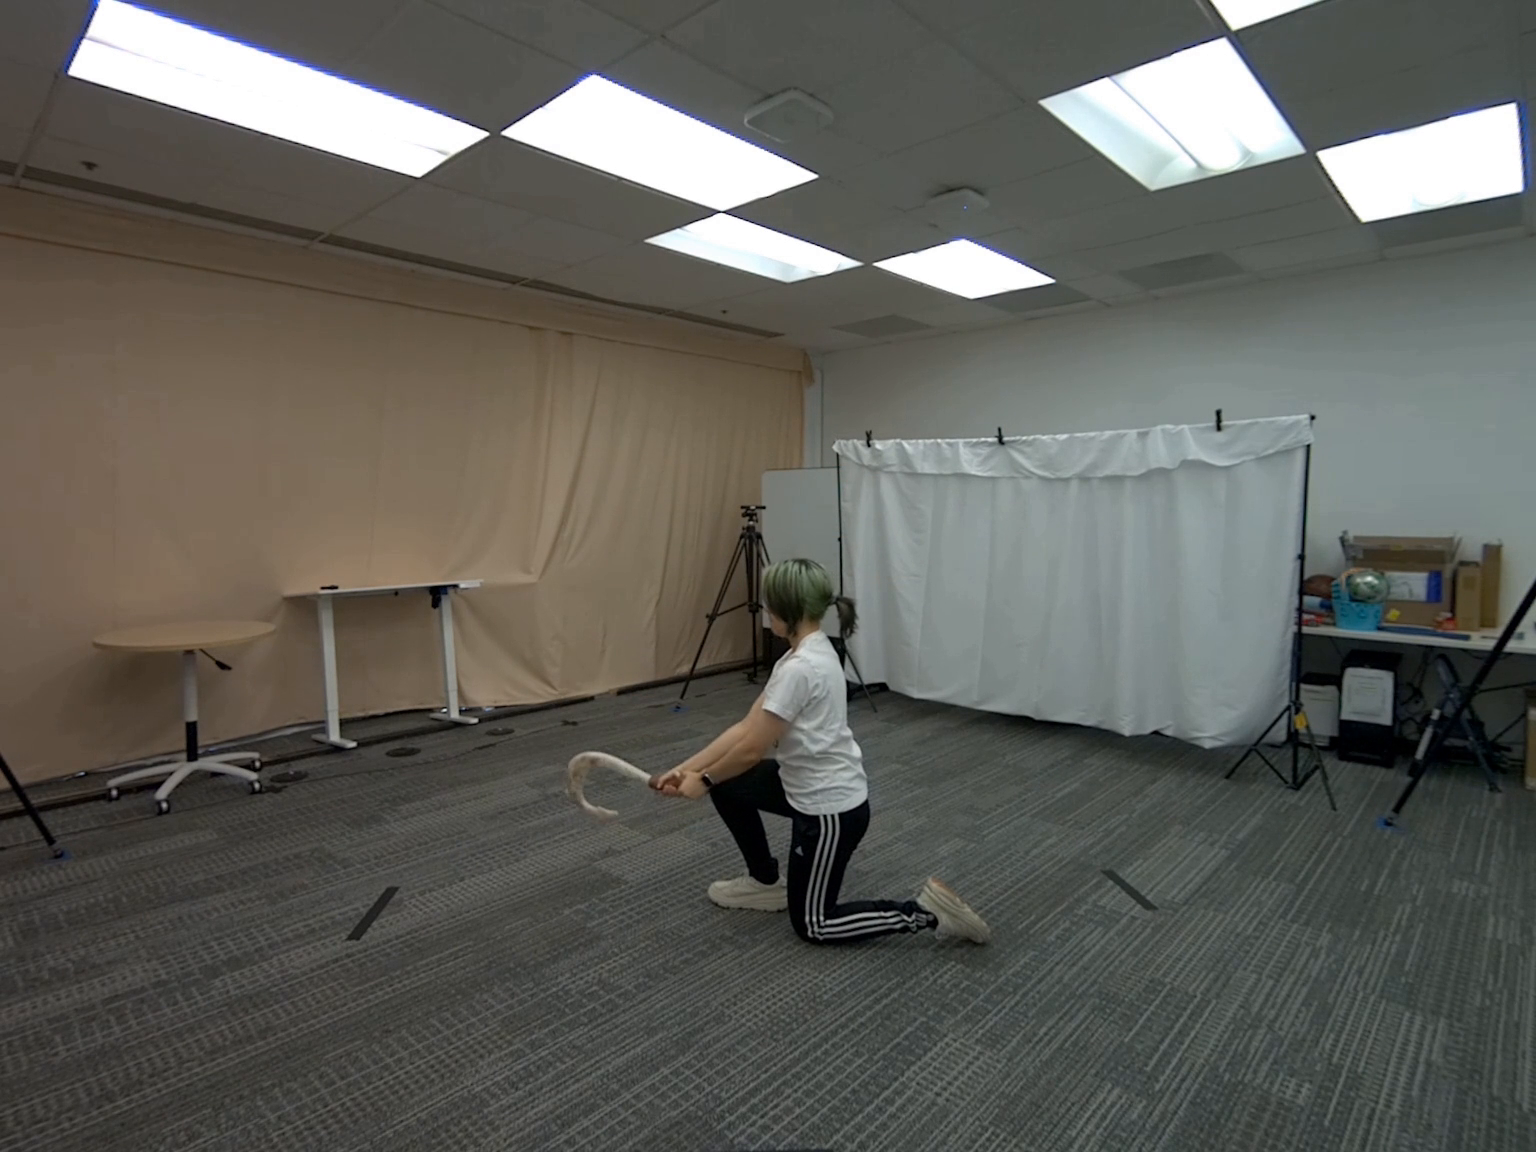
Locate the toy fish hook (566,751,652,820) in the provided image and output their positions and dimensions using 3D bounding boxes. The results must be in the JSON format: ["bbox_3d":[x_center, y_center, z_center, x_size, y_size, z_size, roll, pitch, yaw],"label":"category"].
[{"bbox_3d":[-0.445,0.719,2.826,0.515,0.223,0.048,9,10,13],"label":"toy fish hook"}]
